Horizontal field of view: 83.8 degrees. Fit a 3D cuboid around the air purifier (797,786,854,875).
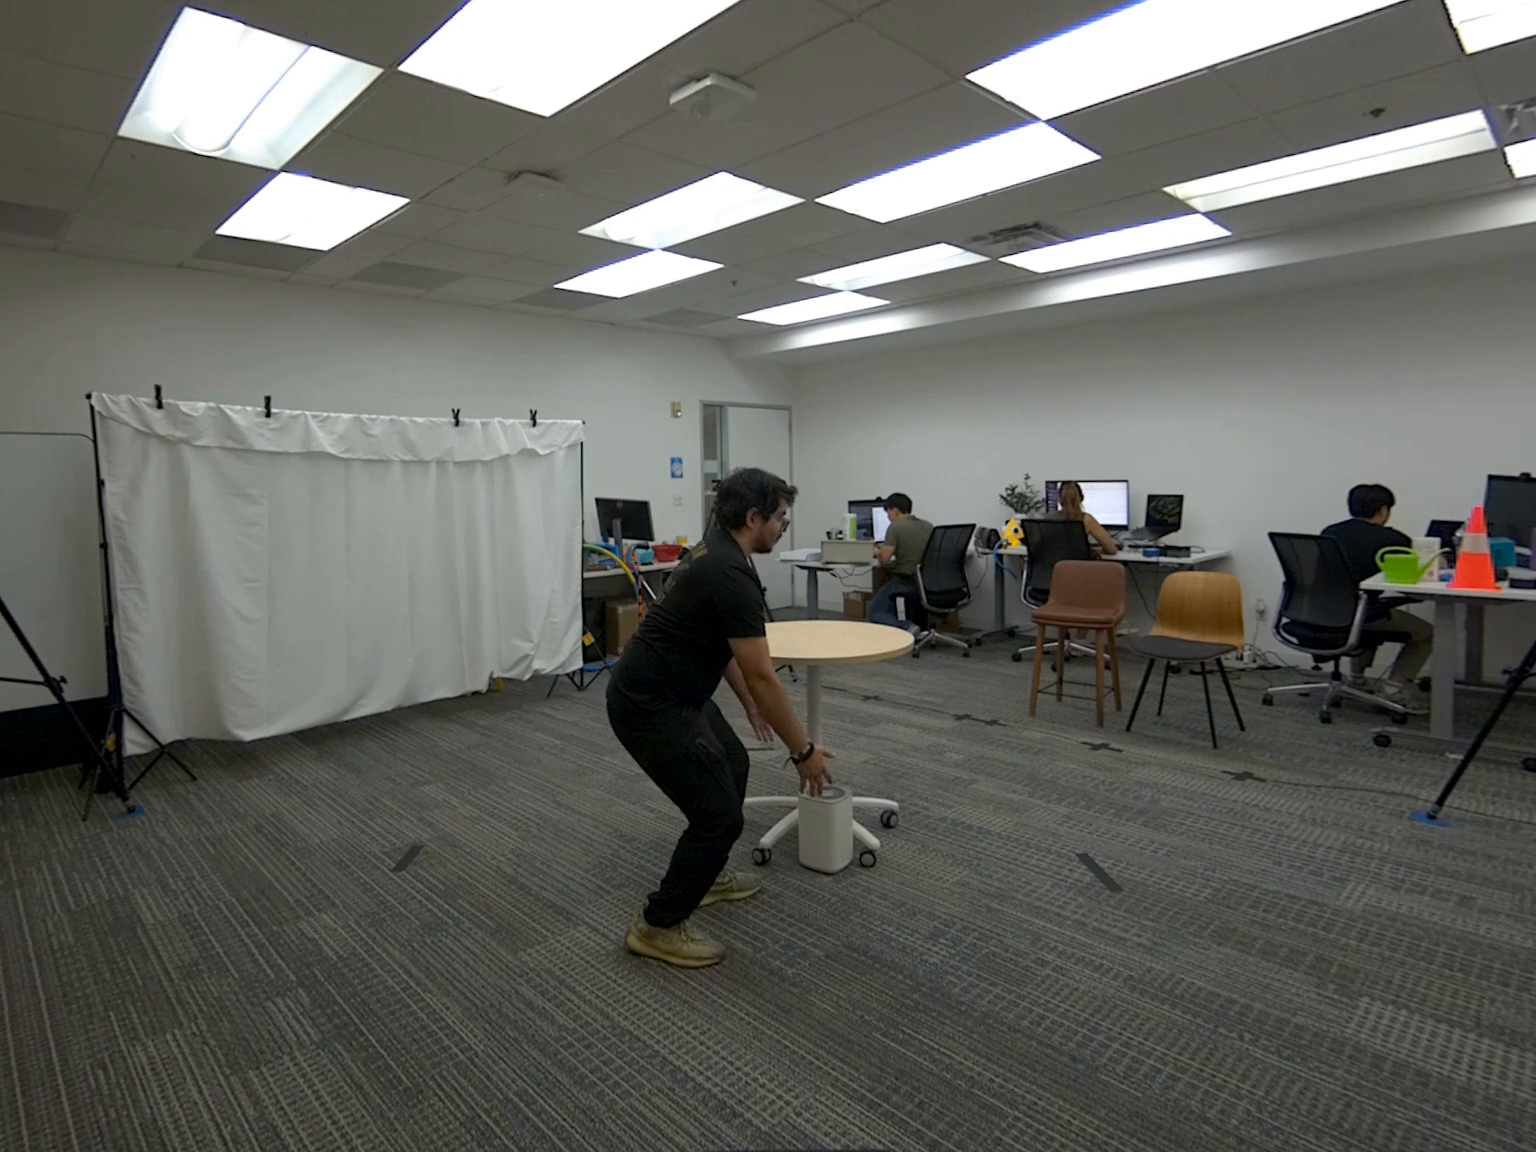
[{"bbox_3d":[0.216,0.913,3.086,0.176,0.265,0.167,1,3,34],"label":"air purifier"}]
